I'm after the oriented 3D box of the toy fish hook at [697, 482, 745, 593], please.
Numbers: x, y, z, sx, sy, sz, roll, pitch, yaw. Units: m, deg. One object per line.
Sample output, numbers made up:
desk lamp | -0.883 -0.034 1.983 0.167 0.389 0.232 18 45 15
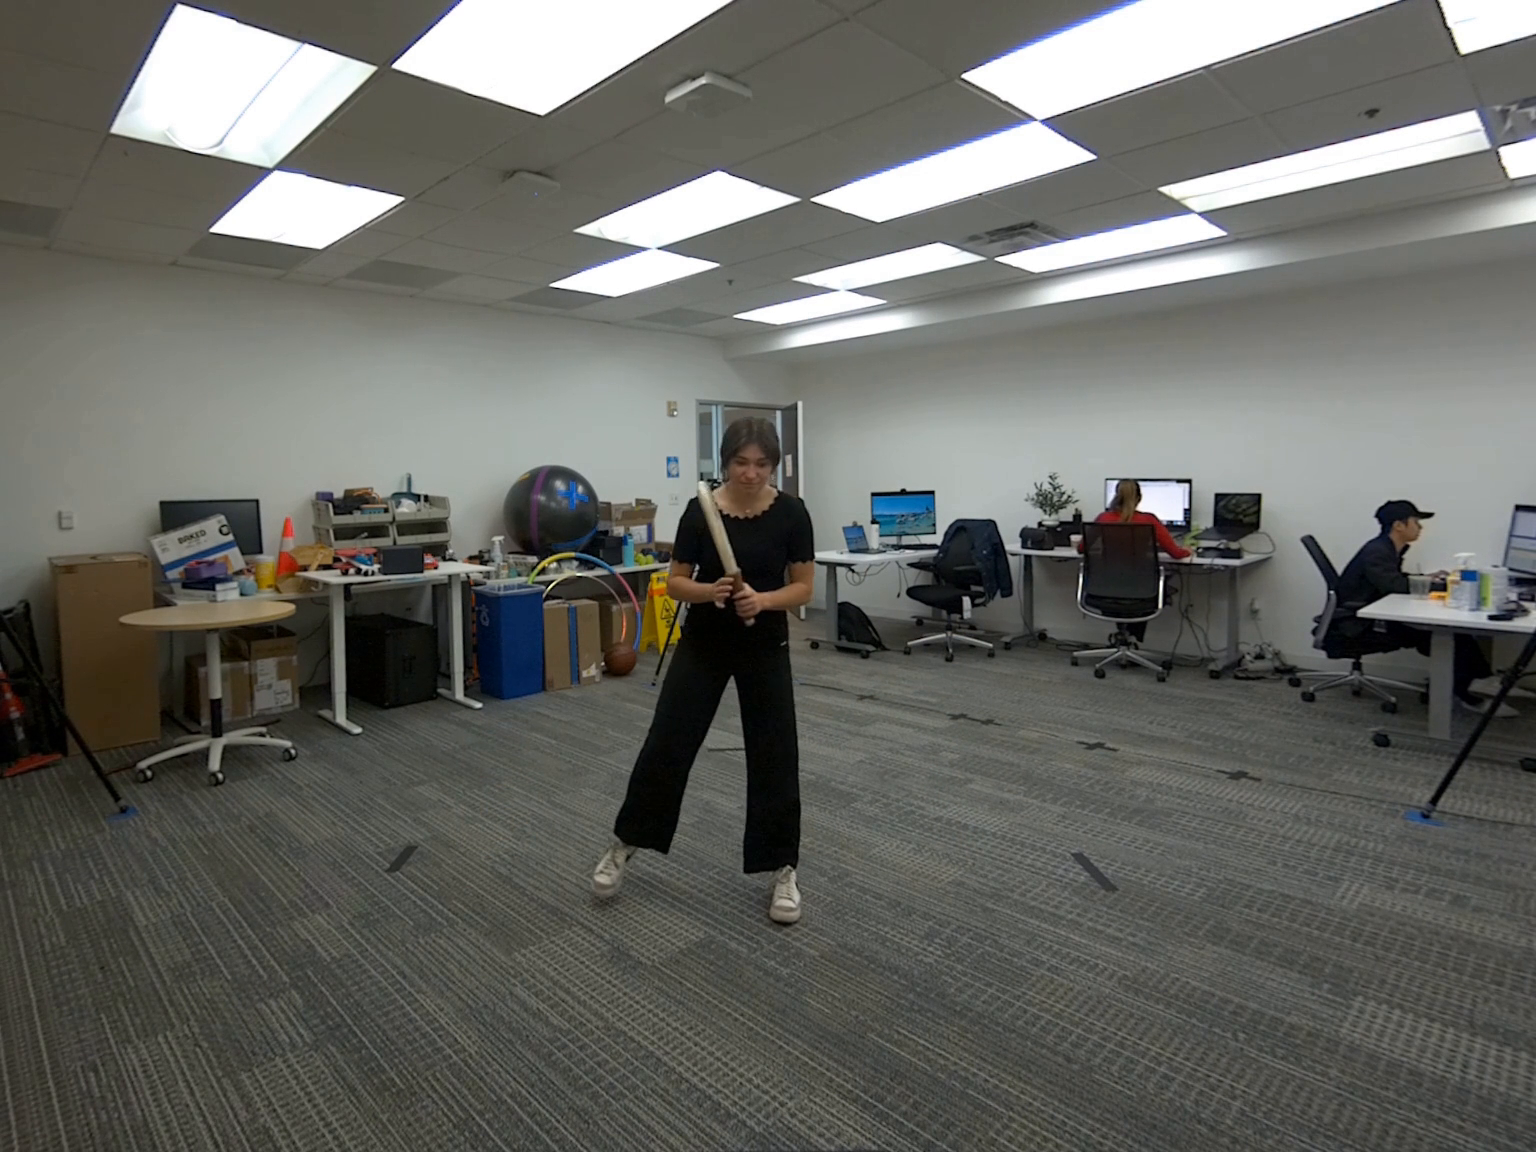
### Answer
toy fish hook | -0.127 -0.018 2.472 0.048 0.492 0.230 -16 27 3
